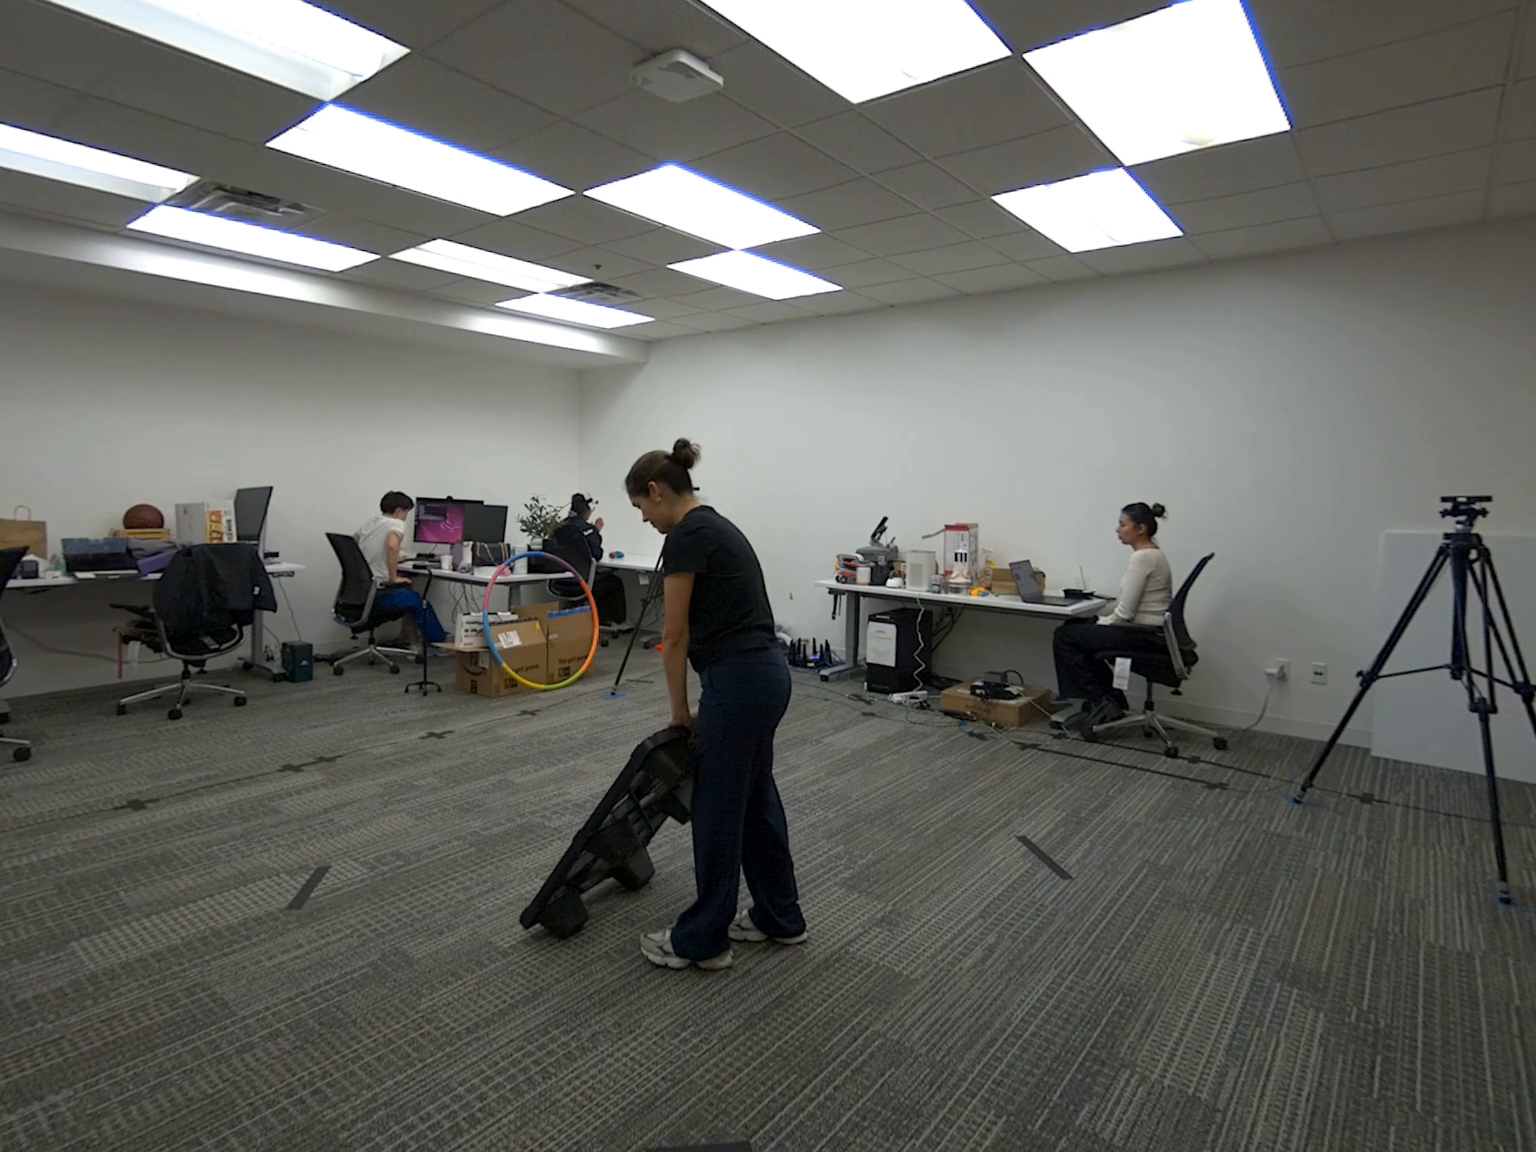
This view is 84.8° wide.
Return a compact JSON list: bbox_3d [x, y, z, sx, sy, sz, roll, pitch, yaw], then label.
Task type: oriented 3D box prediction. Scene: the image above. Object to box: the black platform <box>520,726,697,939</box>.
[{"bbox_3d":[-0.370,0.768,2.722,0.147,0.802,0.590,41,21,19],"label":"black platform"}]
